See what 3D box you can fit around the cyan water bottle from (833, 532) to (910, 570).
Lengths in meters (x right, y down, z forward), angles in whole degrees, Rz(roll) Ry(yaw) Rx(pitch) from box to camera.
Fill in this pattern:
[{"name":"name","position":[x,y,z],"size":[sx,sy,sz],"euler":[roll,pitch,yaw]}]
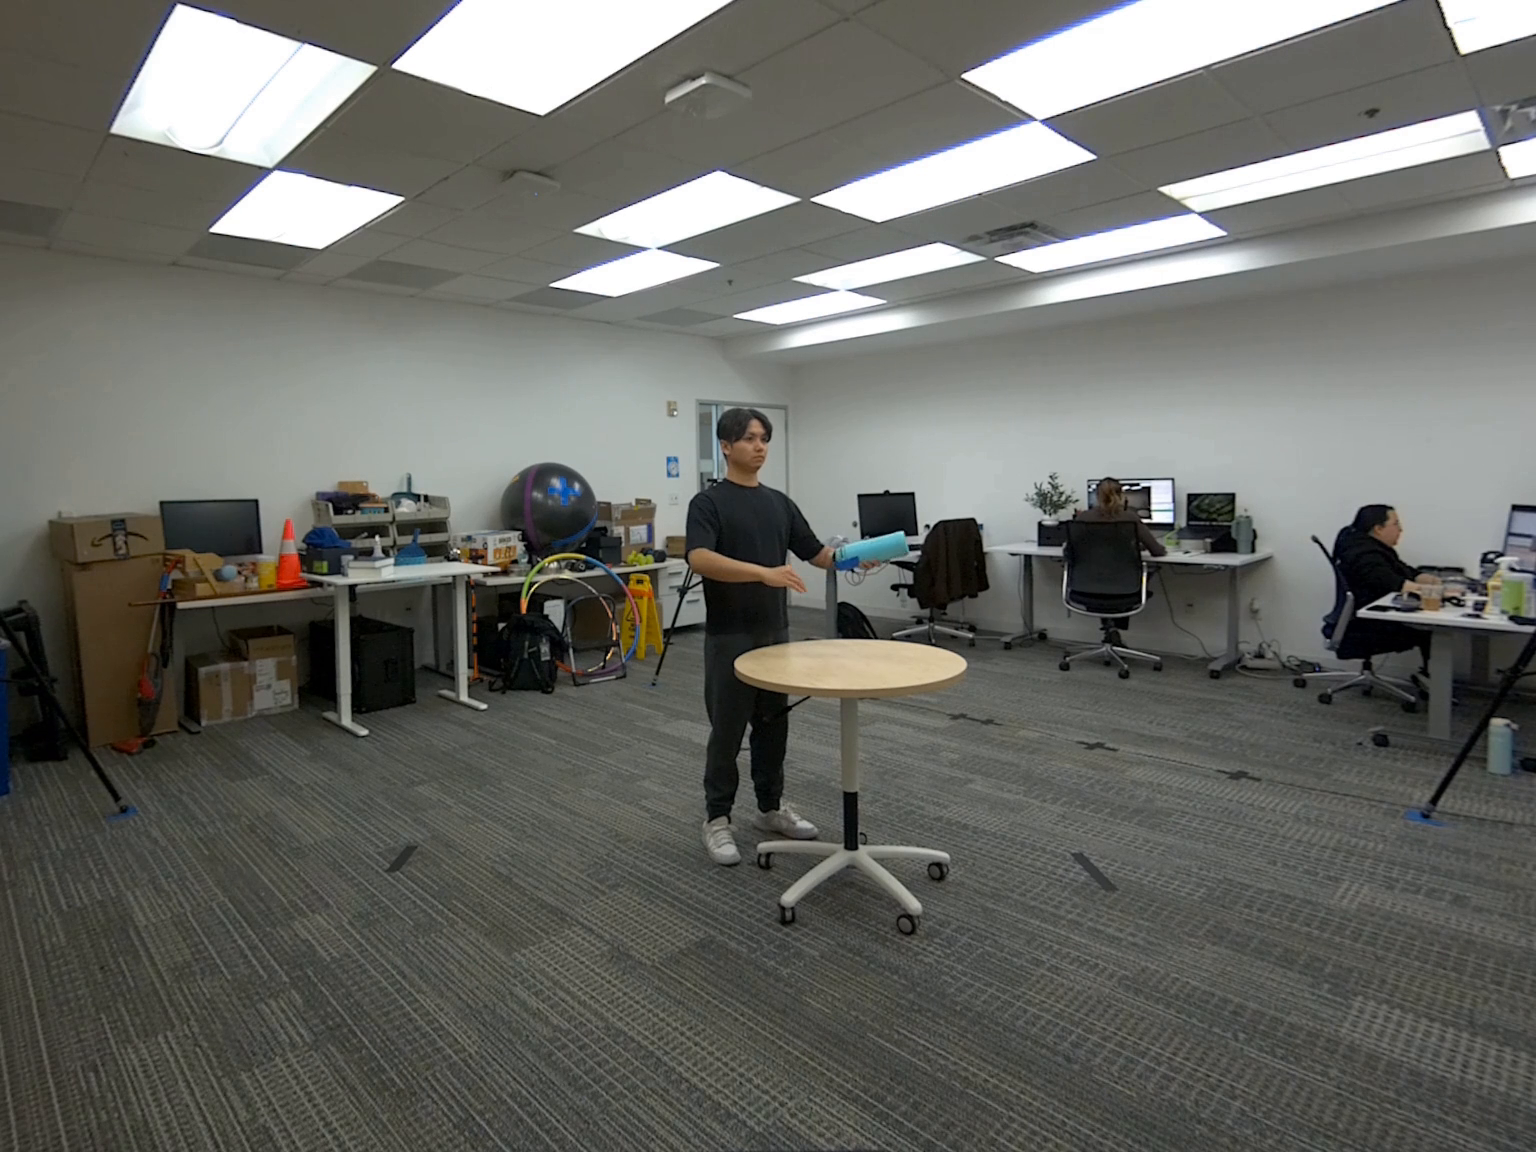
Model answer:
[{"name":"cyan water bottle","position":[0.345,-0.092,3.112],"size":[0.285,0.092,0.092],"euler":[-14,3,7]}]
